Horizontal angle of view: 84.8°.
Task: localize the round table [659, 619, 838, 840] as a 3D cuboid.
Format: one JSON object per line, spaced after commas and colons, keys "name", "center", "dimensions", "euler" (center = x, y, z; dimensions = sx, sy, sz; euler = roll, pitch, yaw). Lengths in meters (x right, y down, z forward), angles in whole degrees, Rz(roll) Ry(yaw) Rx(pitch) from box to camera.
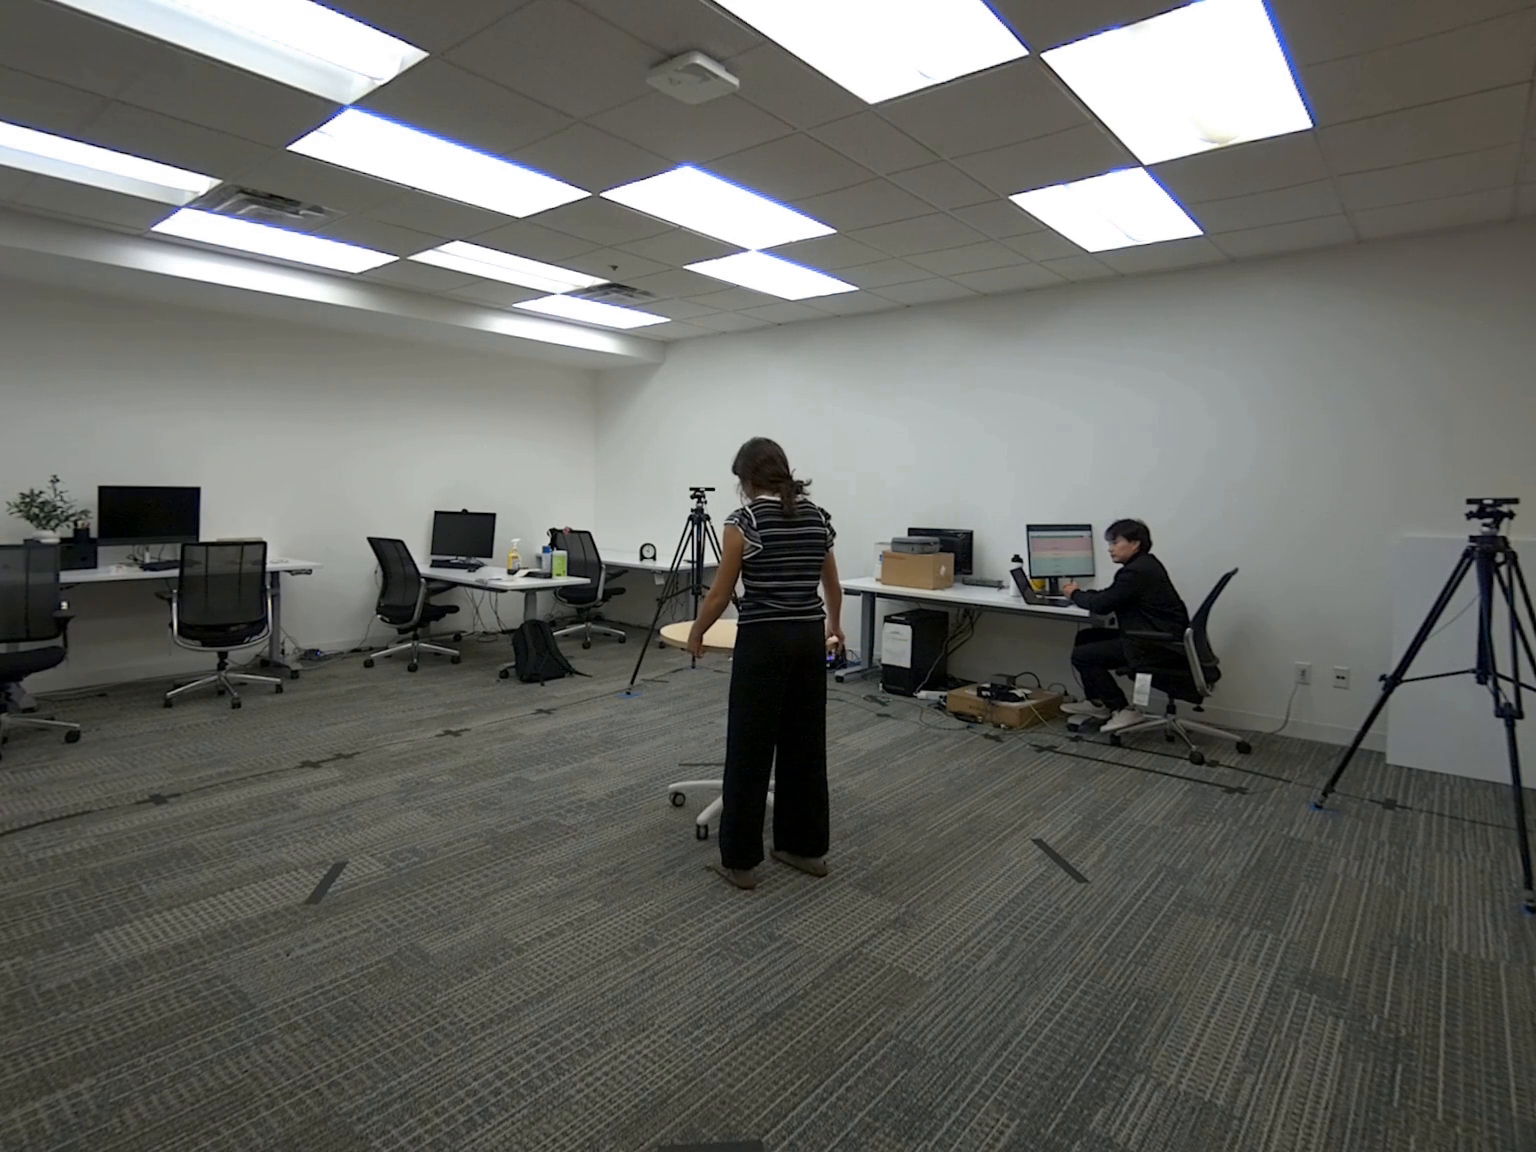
{"name": "round table", "center": [-0.091, 0.622, 3.626], "dimensions": [0.784, 0.784, 0.789], "euler": [2, 4, -2]}
